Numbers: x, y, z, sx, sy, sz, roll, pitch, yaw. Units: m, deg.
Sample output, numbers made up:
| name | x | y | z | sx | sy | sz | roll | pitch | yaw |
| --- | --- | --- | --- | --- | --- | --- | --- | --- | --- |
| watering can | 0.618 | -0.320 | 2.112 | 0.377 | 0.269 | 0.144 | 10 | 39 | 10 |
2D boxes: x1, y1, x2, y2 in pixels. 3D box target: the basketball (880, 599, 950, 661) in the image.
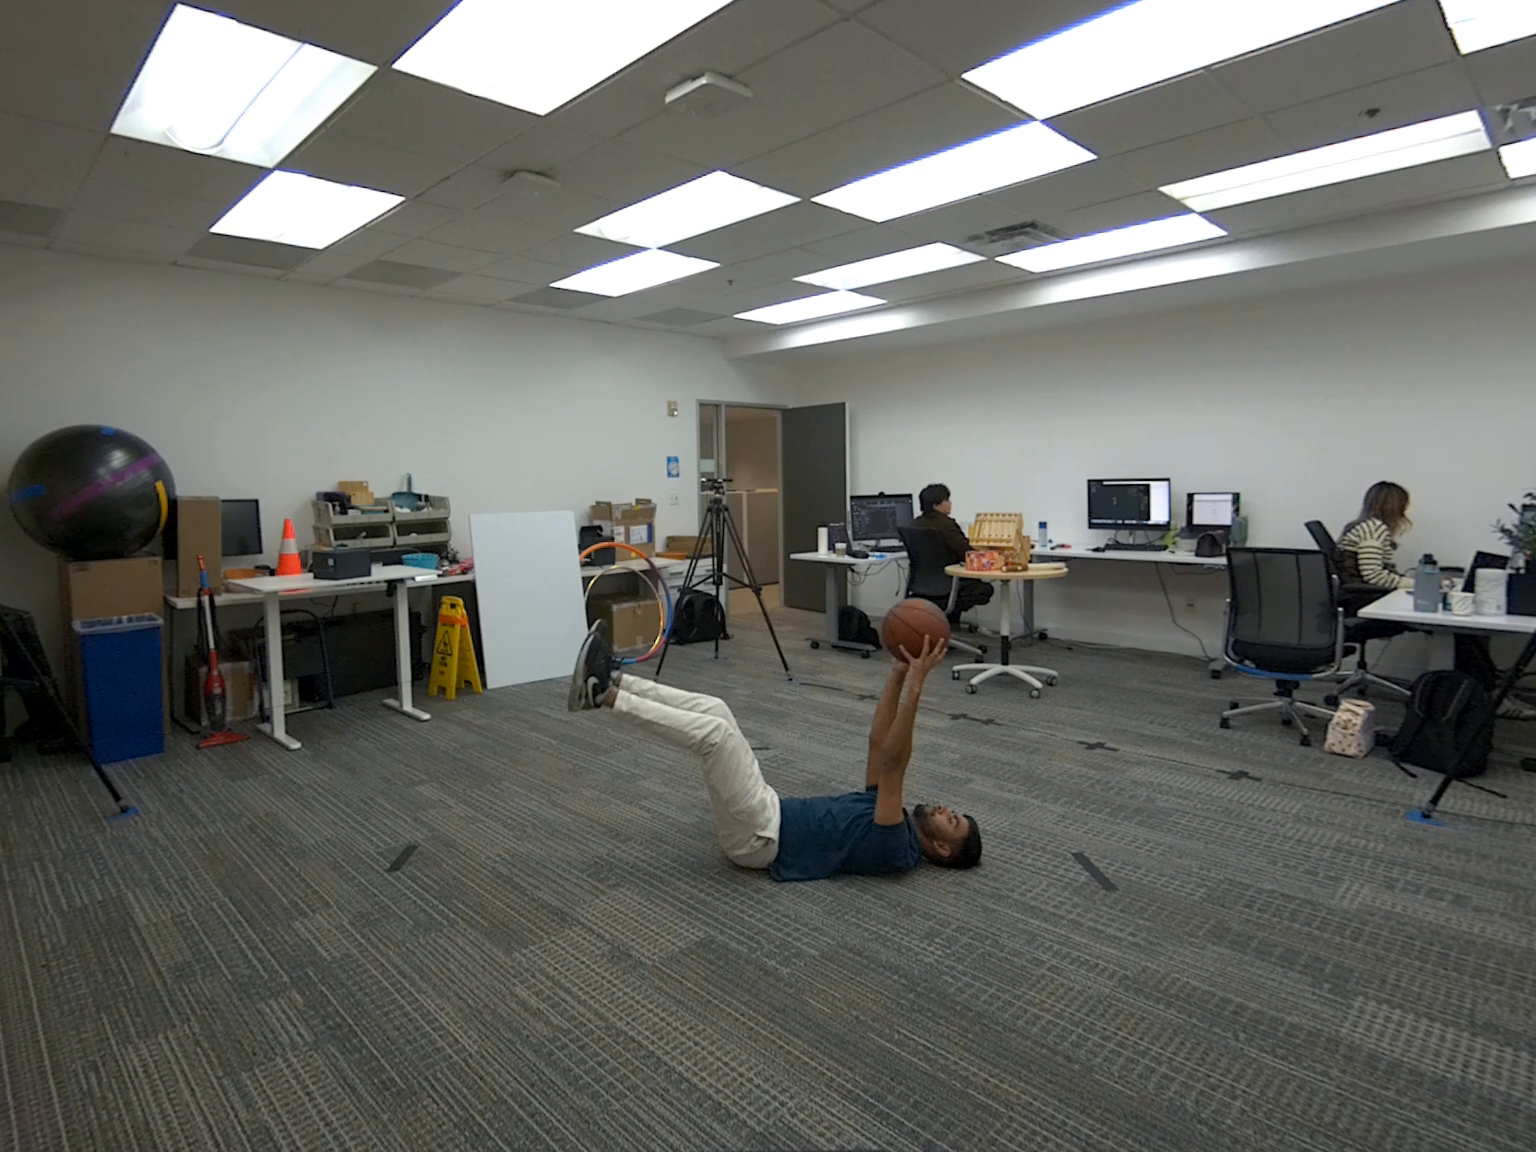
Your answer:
| name | x | y | z | sx | sy | sz | roll | pitch | yaw |
| --- | --- | --- | --- | --- | --- | --- | --- | --- | --- |
| basketball | 0.535 | 0.205 | 3.072 | 0.236 | 0.235 | 0.237 | -1 | 5 | -2 |
